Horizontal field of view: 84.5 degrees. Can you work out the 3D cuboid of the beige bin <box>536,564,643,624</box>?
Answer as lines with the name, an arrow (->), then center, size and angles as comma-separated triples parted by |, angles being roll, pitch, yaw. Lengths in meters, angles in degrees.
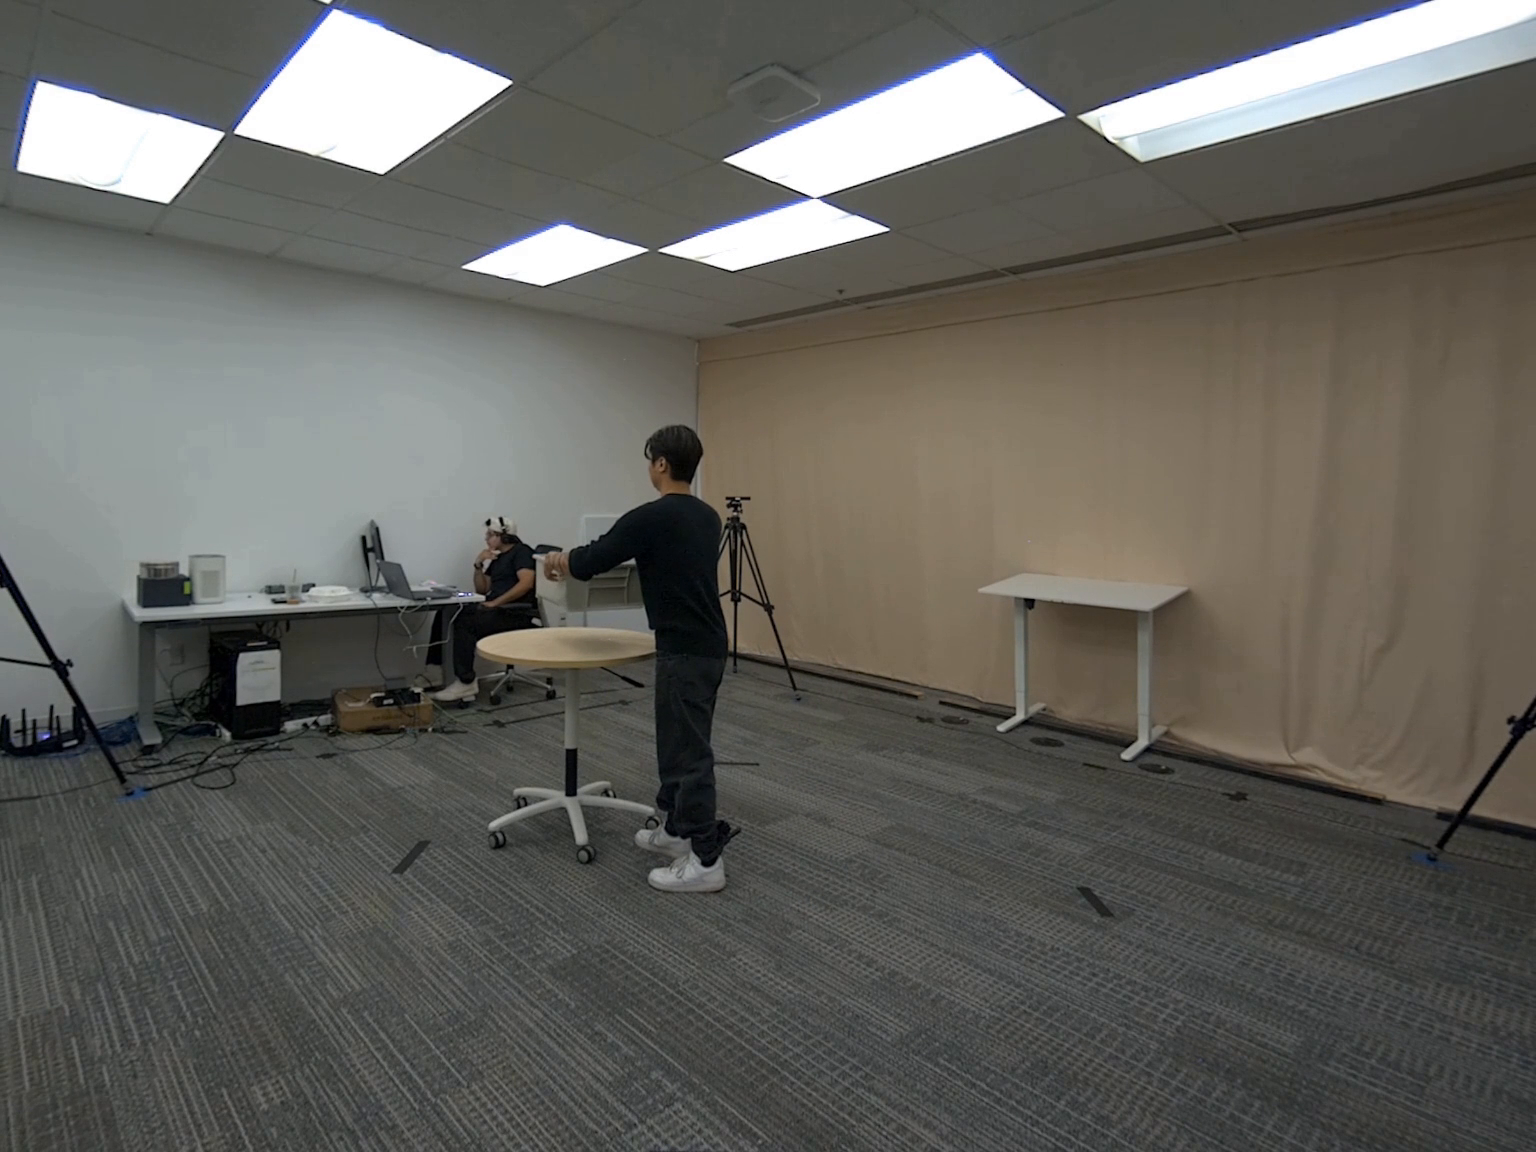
beige bin -> -0.721, 0.021, 3.440 | 0.370, 0.188, 0.433 | -2, 8, -31
